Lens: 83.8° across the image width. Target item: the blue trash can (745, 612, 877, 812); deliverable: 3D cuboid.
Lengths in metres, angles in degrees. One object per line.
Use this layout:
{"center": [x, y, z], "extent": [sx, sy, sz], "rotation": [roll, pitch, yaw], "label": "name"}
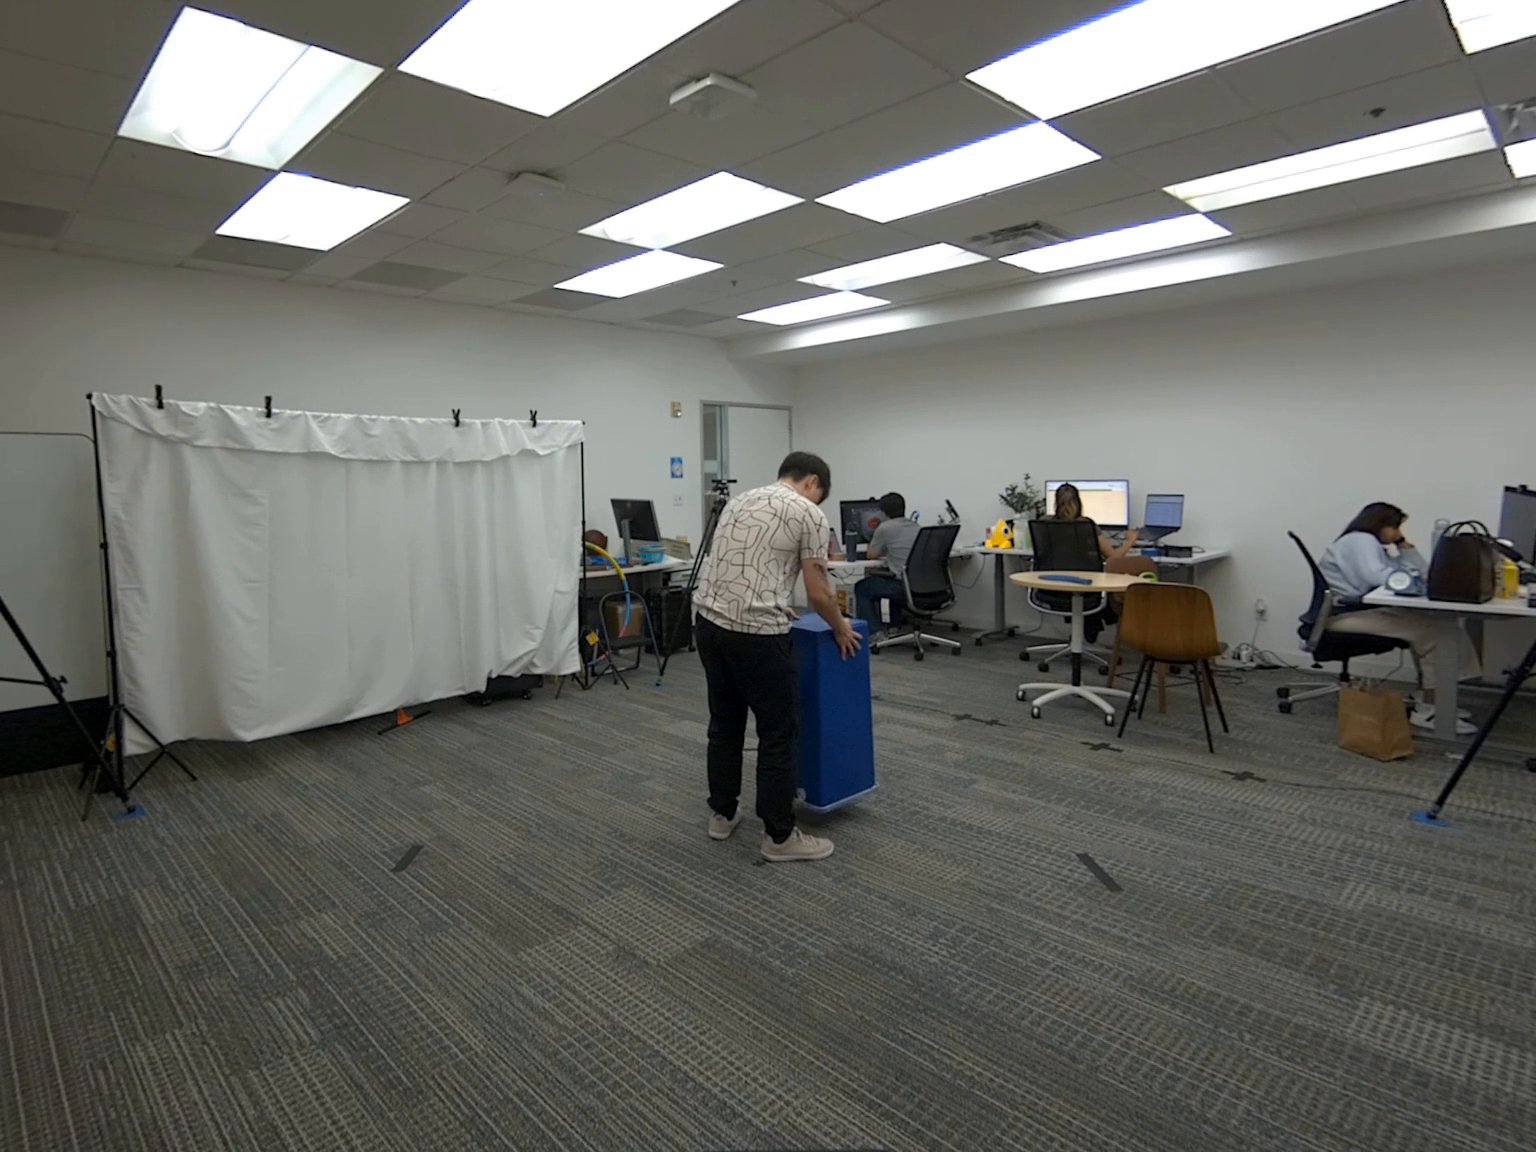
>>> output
{"center": [0.208, 0.536, 3.553], "extent": [0.368, 0.710, 0.386], "rotation": [-6, 8, -41], "label": "blue trash can"}
